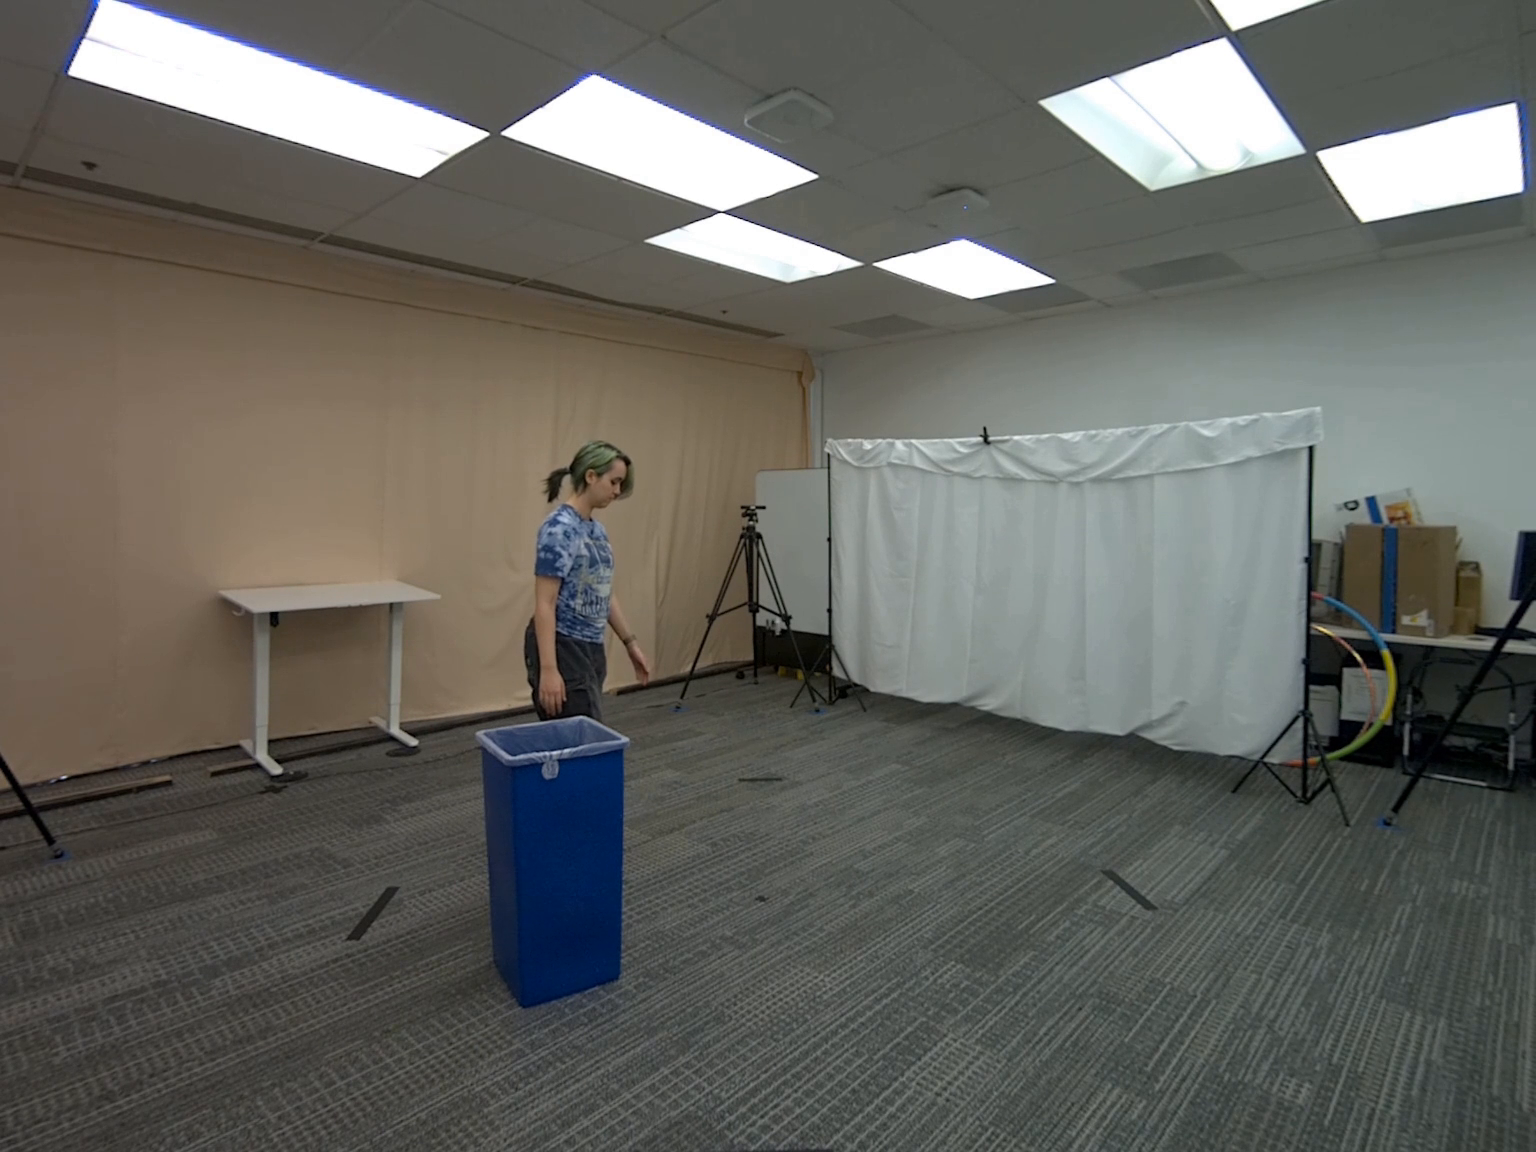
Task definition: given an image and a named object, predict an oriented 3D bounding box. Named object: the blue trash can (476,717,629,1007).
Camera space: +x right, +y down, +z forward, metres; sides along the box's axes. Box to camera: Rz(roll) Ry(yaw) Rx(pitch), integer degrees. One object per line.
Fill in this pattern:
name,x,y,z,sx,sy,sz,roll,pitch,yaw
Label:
blue trash can,-0.649,0.830,2.522,0.367,0.712,0.385,-2,3,-33
